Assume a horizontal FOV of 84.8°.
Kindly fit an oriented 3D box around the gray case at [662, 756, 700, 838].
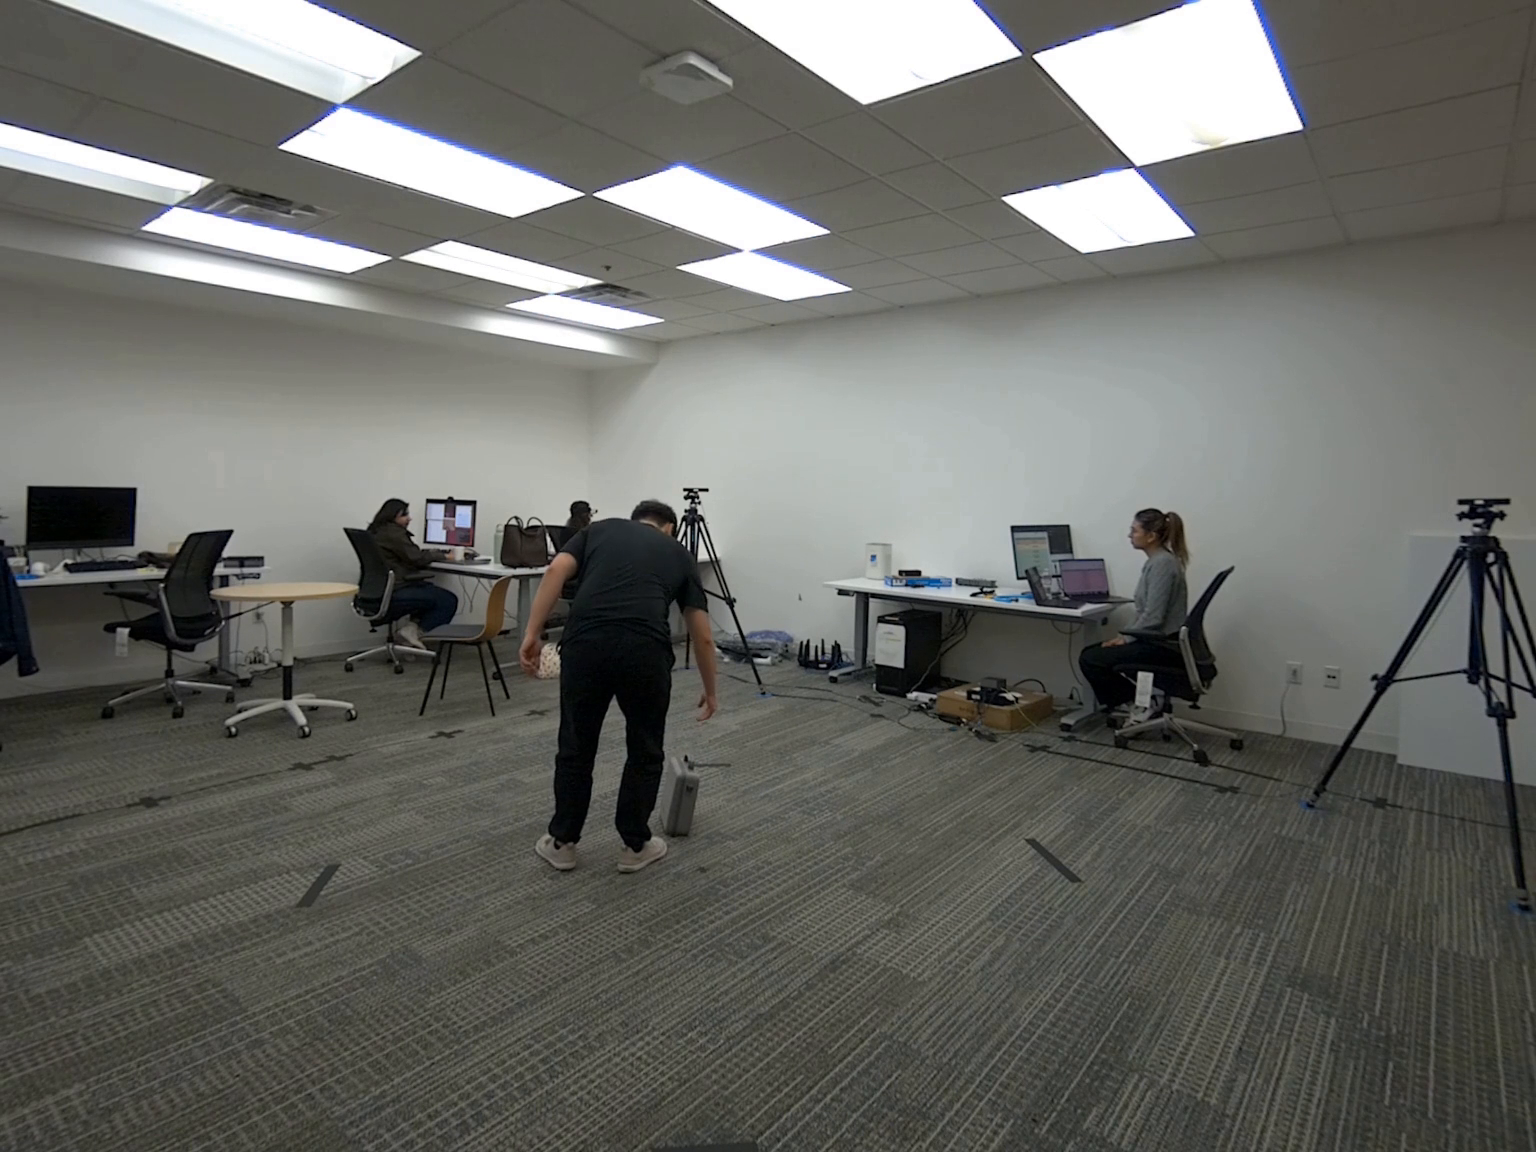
[{"bbox_3d":[-0.374,0.893,3.512,0.103,0.260,0.261,9,3,-14],"label":"gray case"}]
